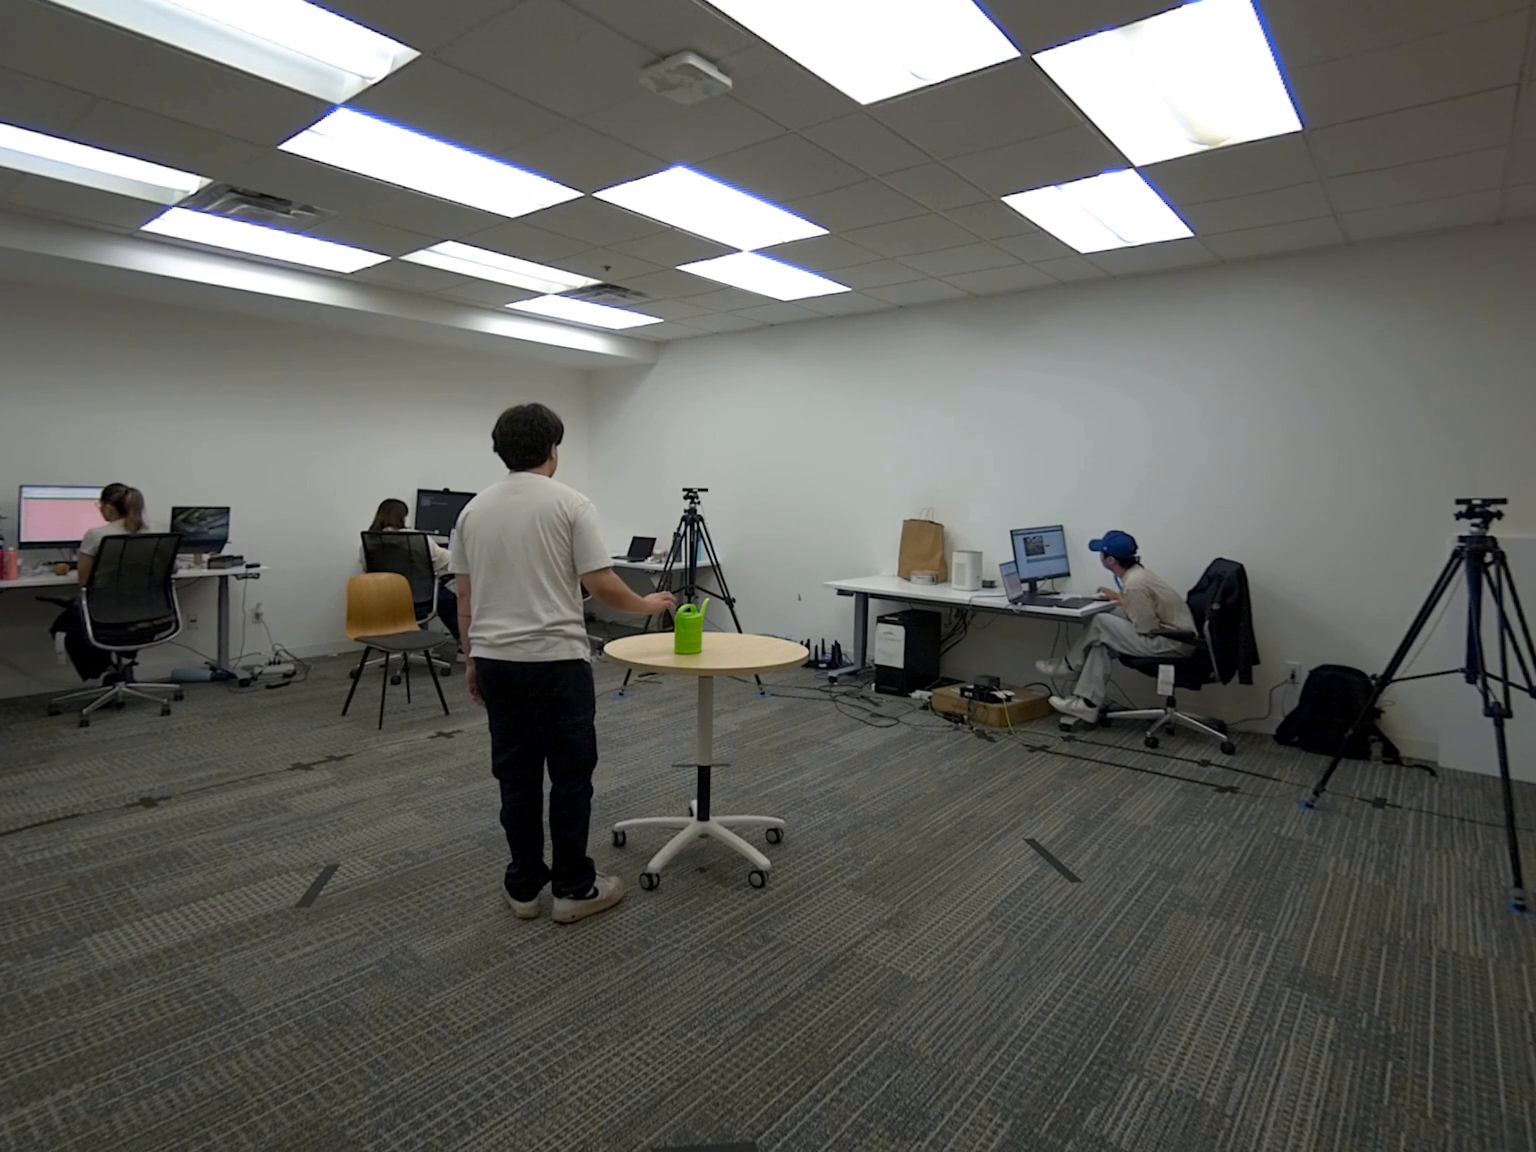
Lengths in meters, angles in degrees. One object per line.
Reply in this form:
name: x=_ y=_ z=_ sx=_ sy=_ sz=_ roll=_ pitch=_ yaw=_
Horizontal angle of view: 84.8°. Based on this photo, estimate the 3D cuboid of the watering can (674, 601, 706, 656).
watering can: x=-0.277 y=0.186 z=3.146 sx=0.101 sy=0.176 sz=0.271 roll=0 pitch=5 yaw=34
